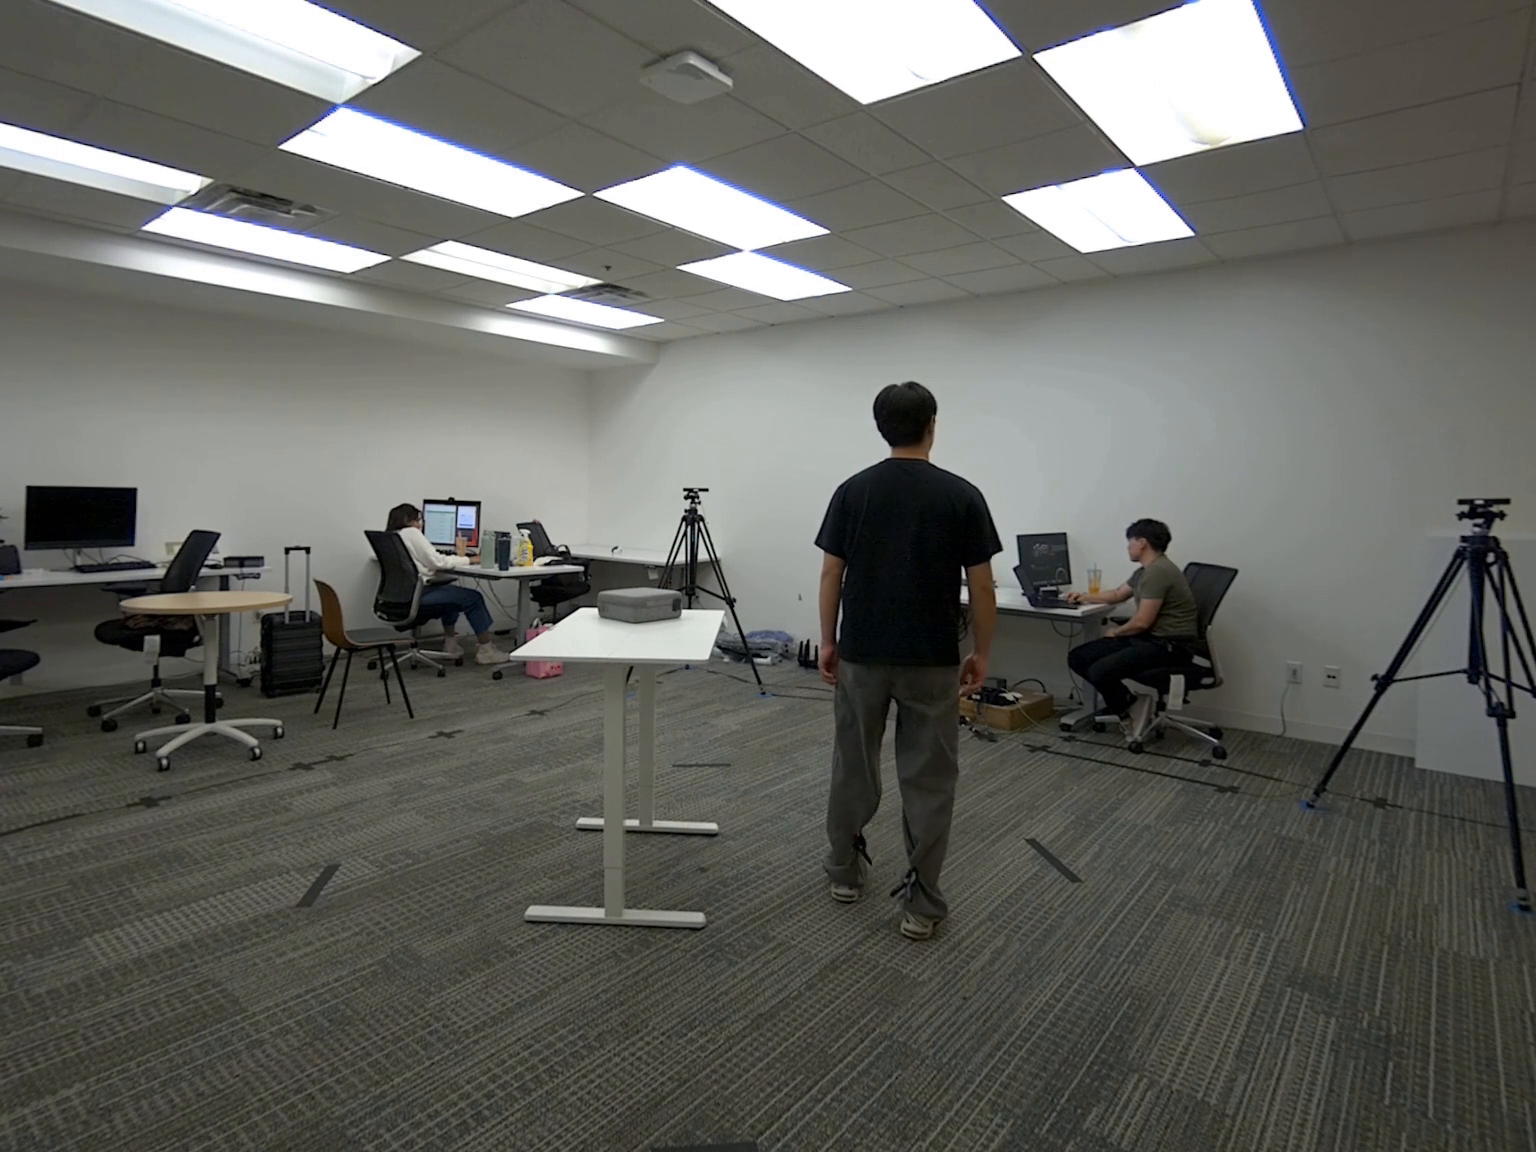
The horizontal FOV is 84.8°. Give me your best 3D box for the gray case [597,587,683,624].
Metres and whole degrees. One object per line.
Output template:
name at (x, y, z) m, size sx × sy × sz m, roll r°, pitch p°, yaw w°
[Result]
gray case at (-0.522, 0.106, 3.326) m, size 0.255 × 0.102 × 0.297 m, roll -6°, pitch 8°, yaw -45°
